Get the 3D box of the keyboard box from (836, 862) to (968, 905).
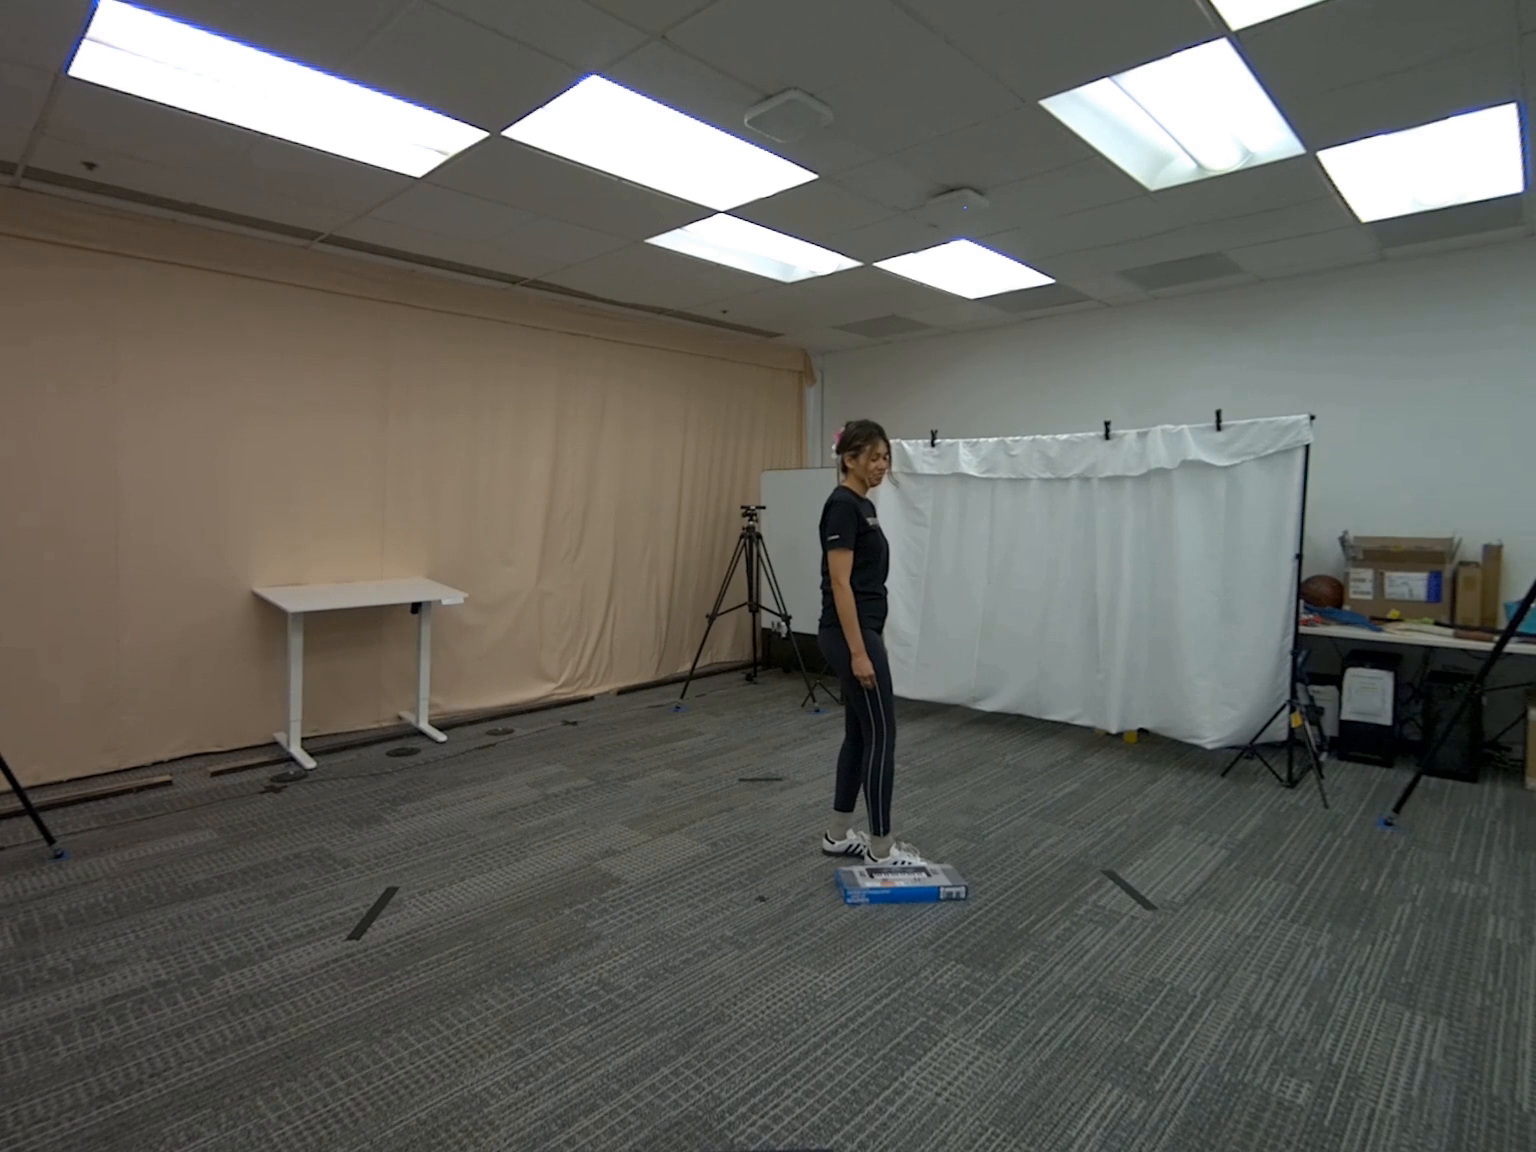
[{"bbox_3d":[0.481,1.108,3.028,0.435,0.059,0.177,-1,6,-4],"label":"keyboard box"}]
